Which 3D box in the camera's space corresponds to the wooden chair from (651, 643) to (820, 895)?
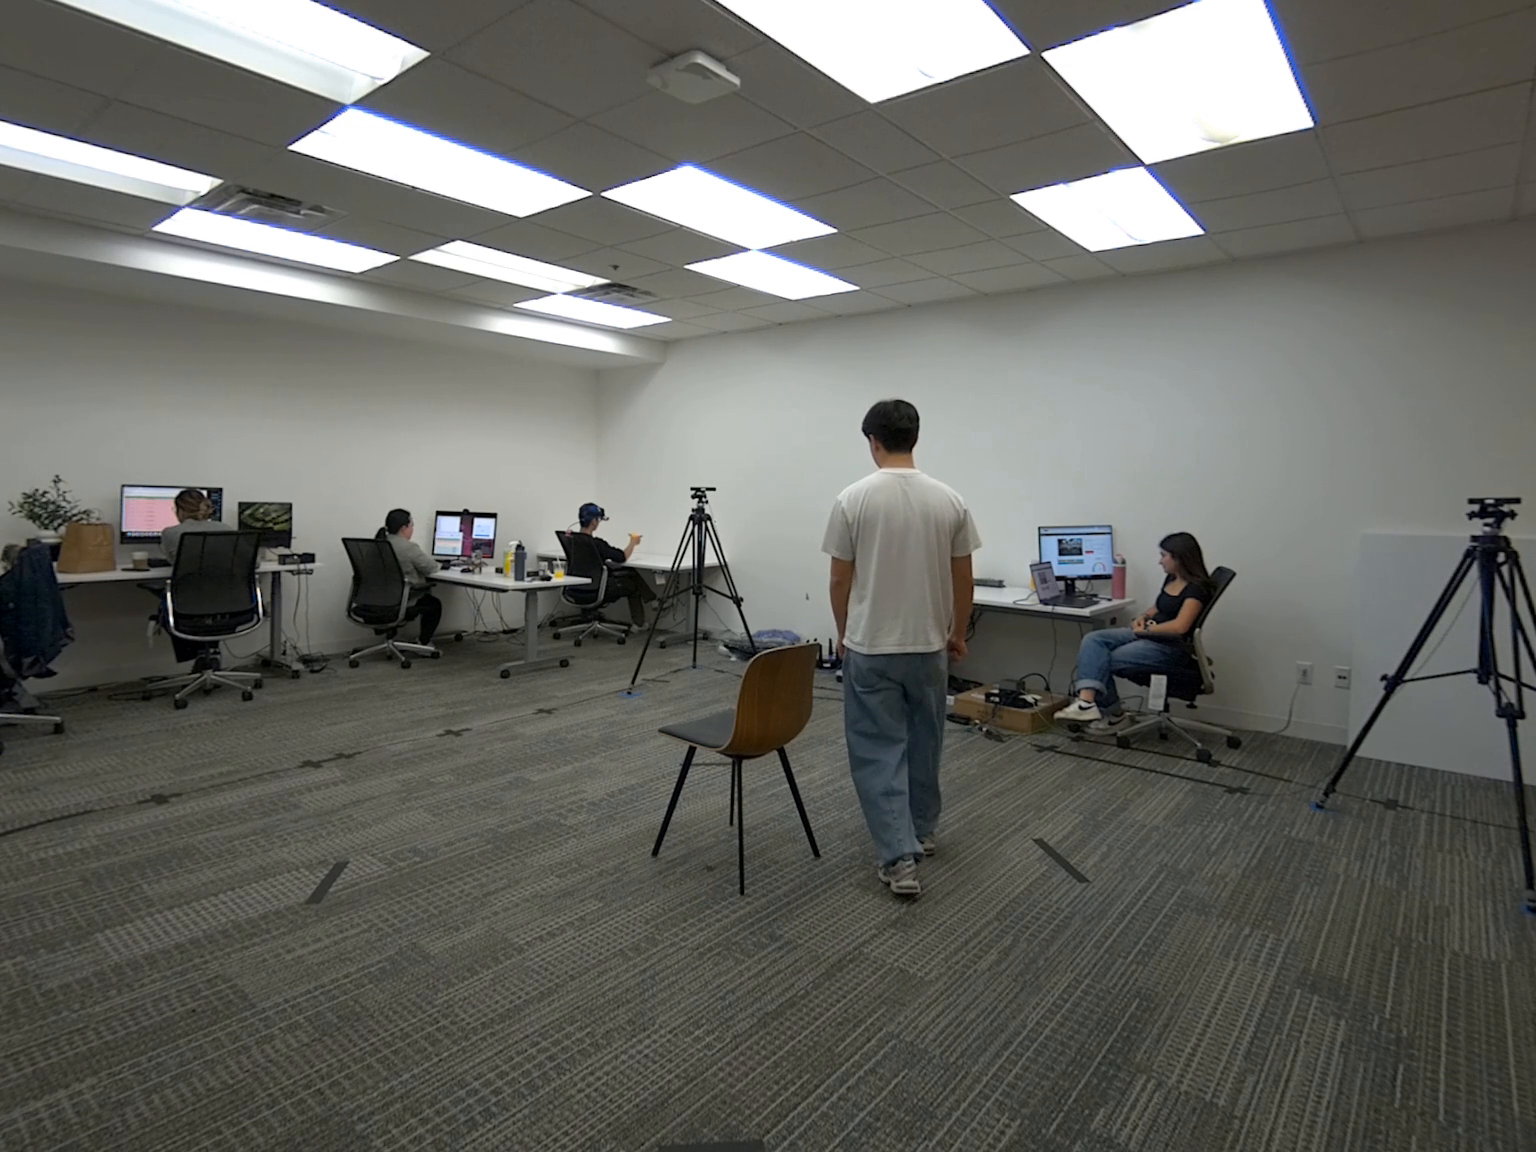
[{"bbox_3d":[-0.127,0.636,3.194,0.542,0.873,0.463,9,7,40],"label":"wooden chair"}]
